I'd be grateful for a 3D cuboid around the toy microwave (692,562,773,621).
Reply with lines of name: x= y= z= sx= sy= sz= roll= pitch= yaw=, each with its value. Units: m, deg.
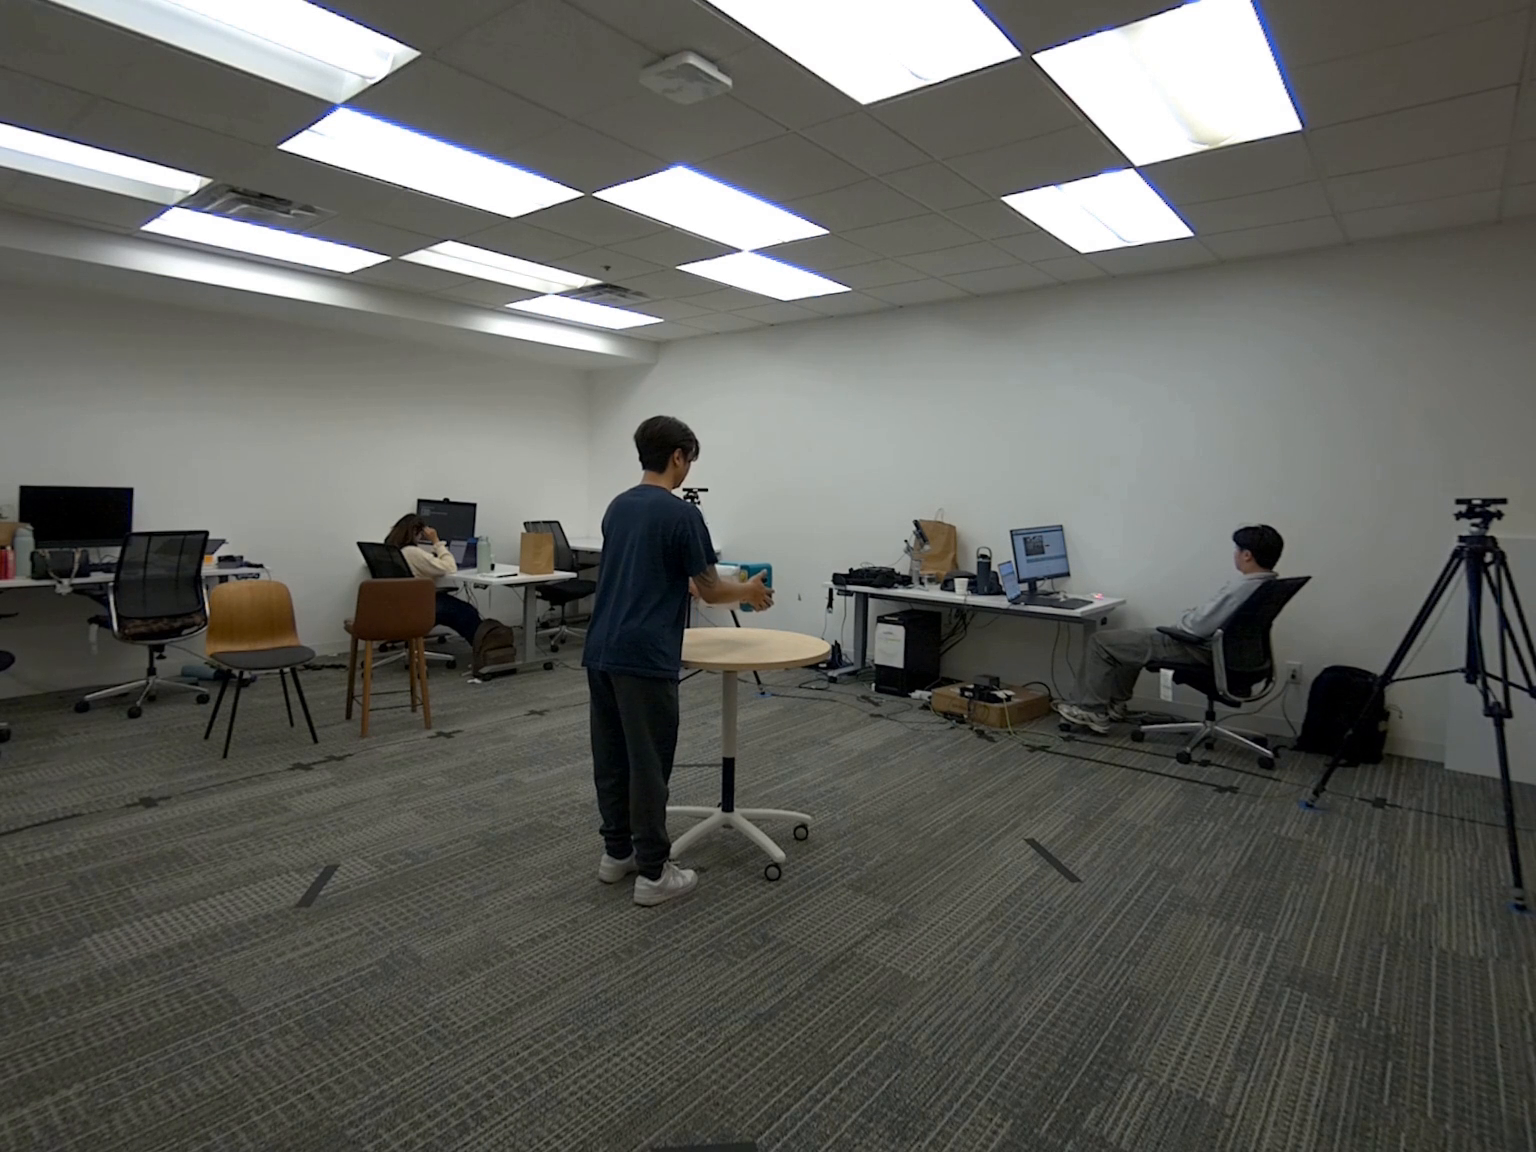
toy microwave: x=-0.141 y=0.034 z=3.309 sx=0.296 sy=0.184 sz=0.147 roll=3 pitch=3 yaw=44
